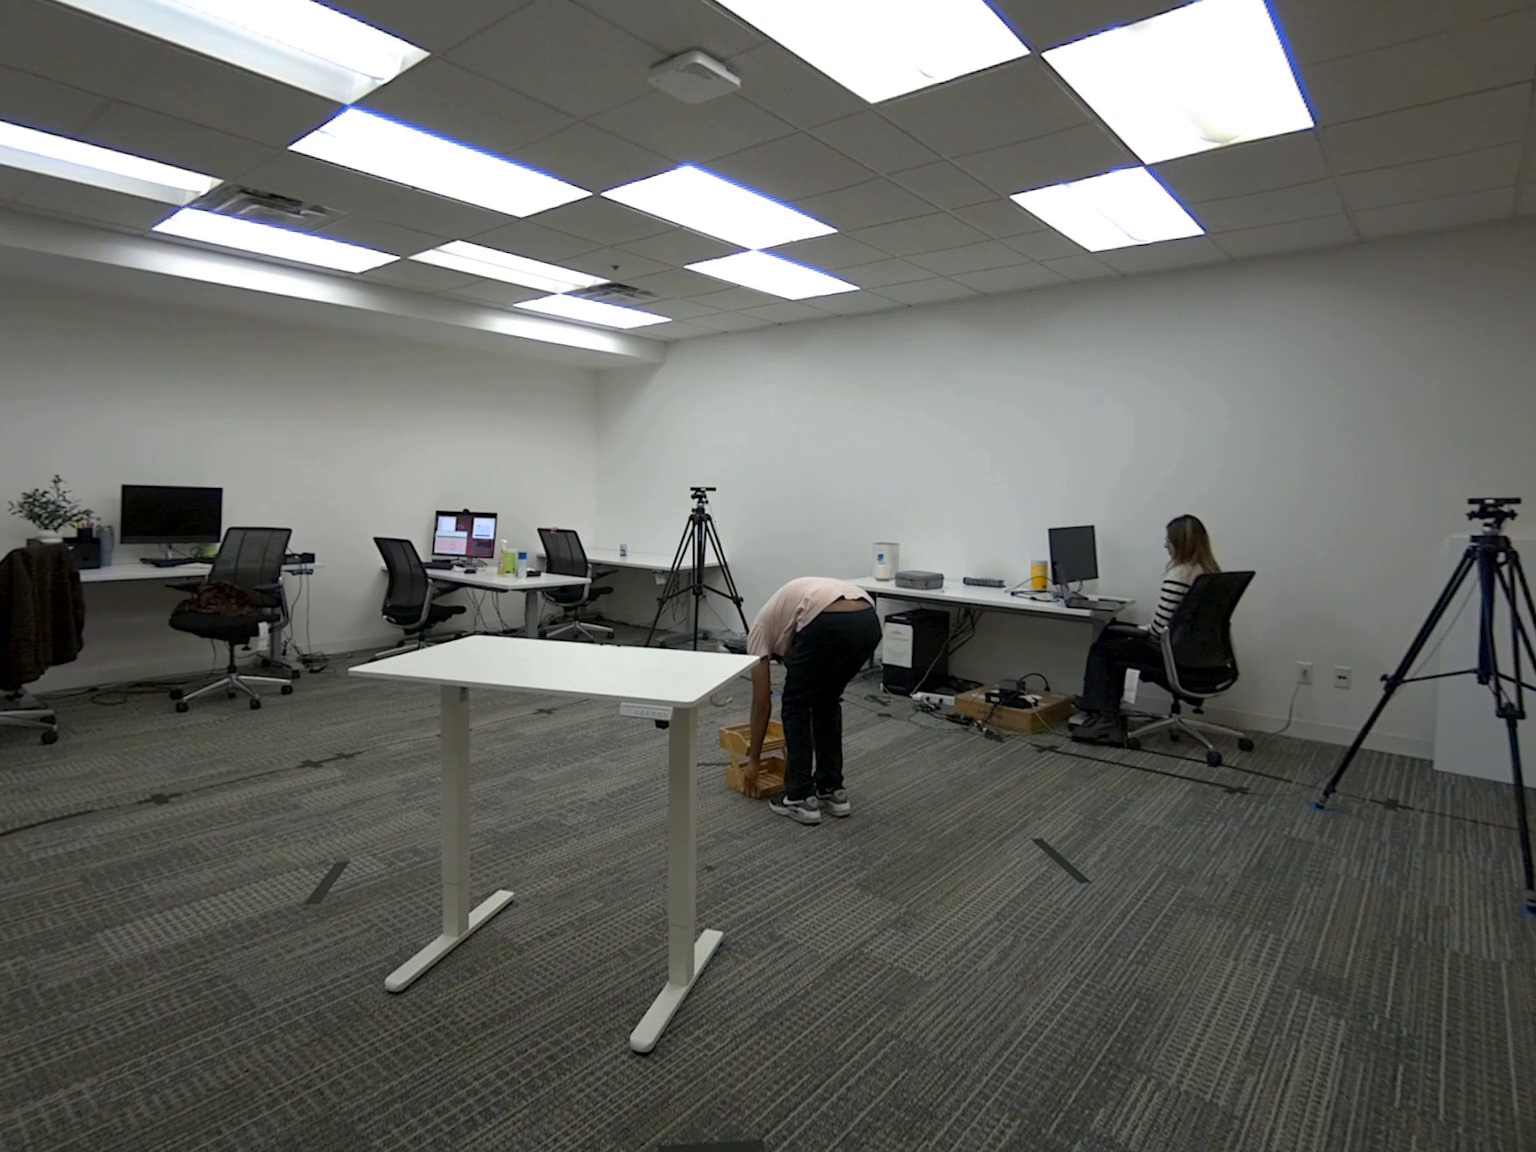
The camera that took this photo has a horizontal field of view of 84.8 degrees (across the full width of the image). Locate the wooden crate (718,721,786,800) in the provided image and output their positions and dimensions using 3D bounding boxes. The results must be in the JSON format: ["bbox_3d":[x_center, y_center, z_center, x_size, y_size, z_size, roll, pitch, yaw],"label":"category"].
[{"bbox_3d":[-0.030,0.841,4.005,0.315,0.273,0.312,-3,4,-41],"label":"wooden crate"}]
